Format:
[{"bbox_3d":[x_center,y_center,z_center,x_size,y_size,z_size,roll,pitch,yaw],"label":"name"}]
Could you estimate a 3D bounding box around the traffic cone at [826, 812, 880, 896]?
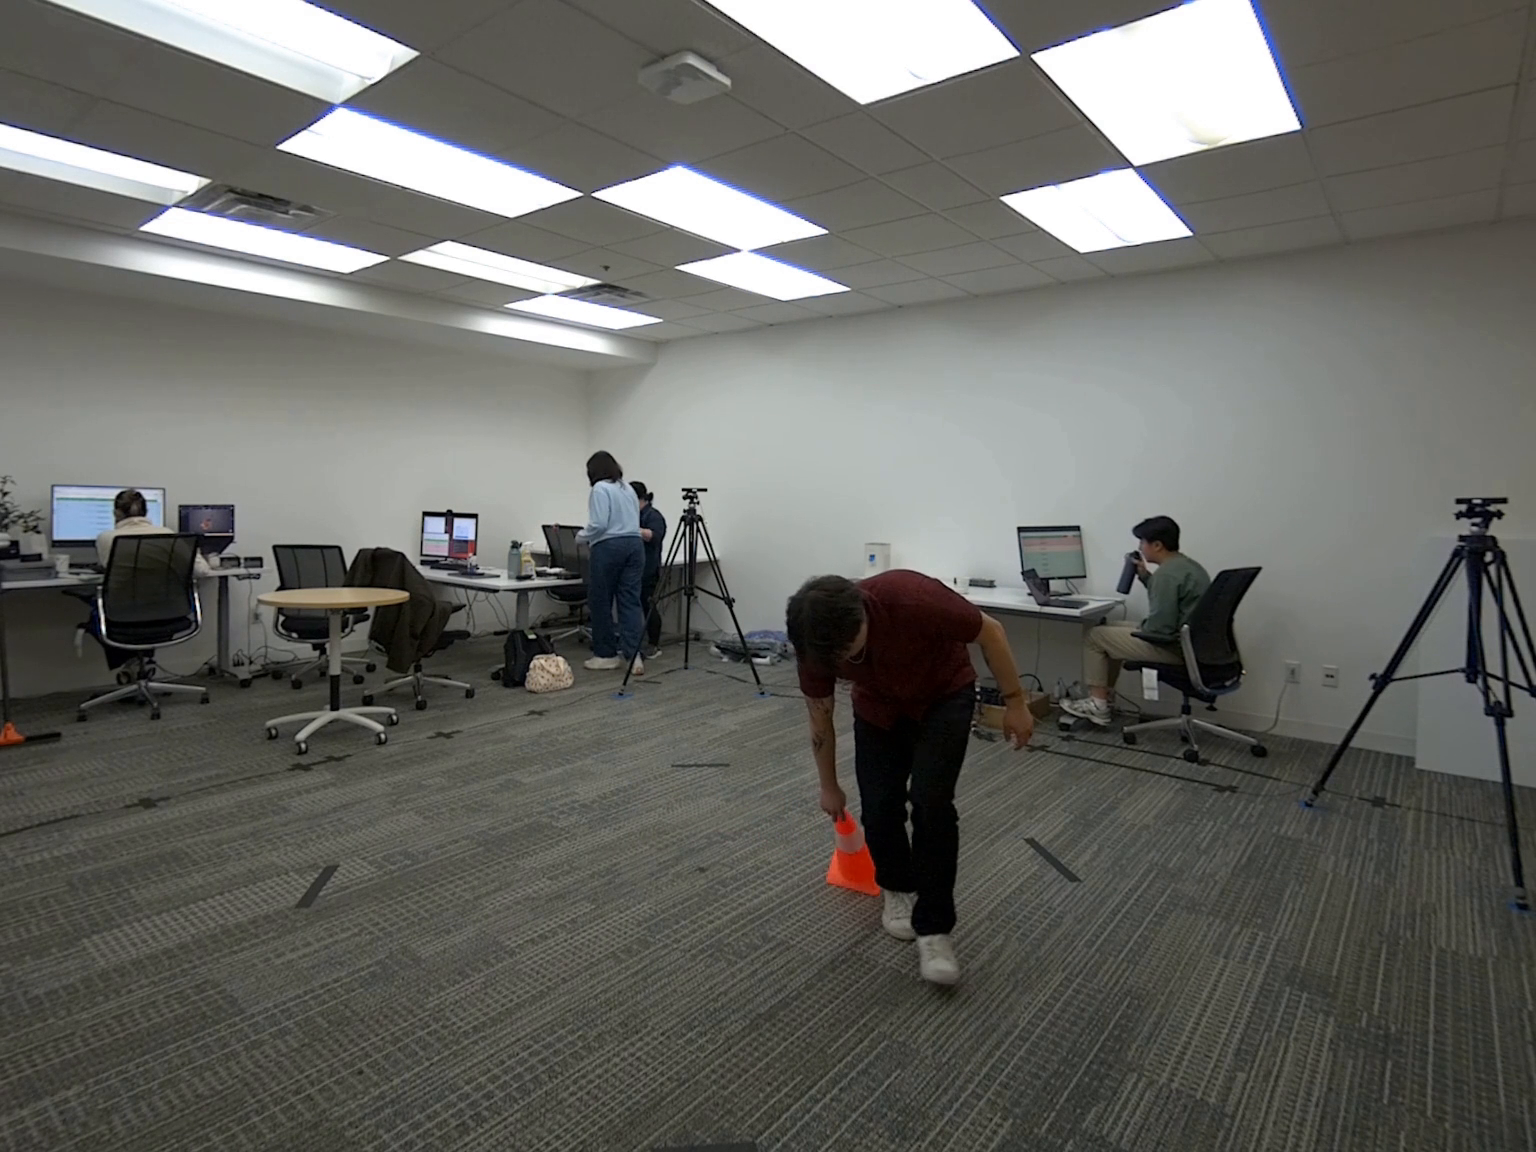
[{"bbox_3d":[0.277,0.893,2.918,0.212,0.369,0.204,11,50,30],"label":"traffic cone"}]
